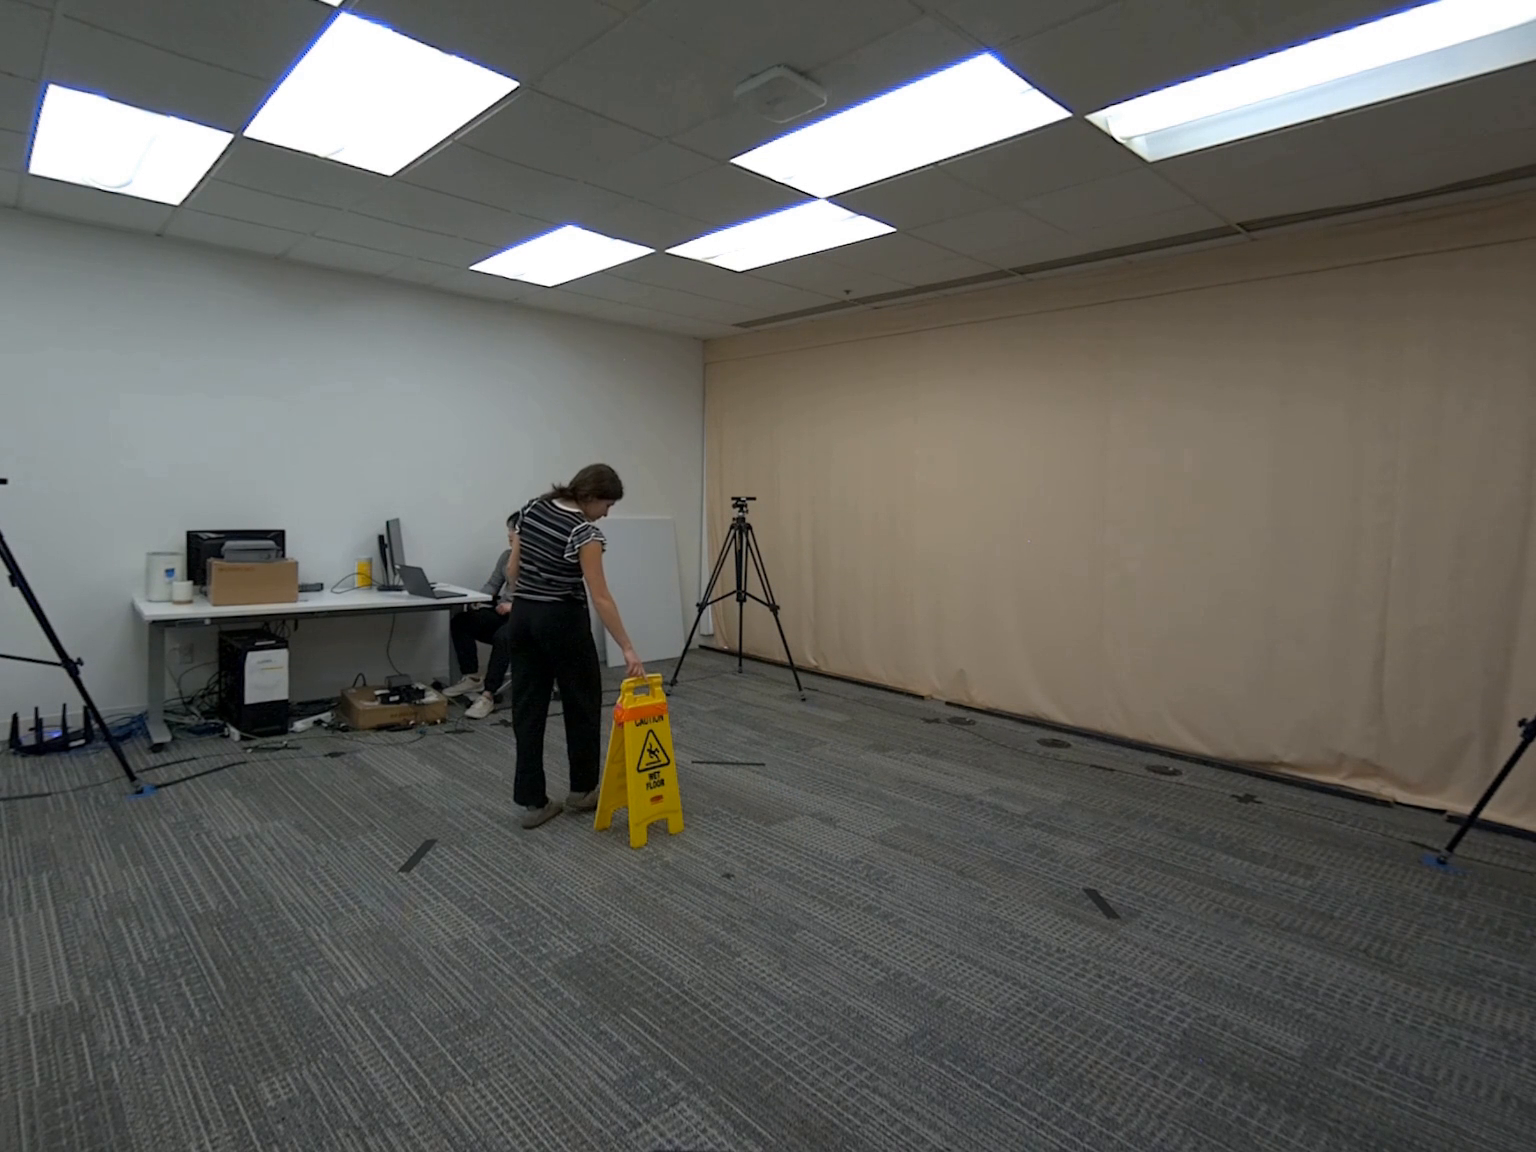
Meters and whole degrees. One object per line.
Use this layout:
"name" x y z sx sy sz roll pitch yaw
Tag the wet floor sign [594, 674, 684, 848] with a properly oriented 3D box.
"wet floor sign" -0.540 0.738 3.496 0.297 0.645 0.276 4 3 42
